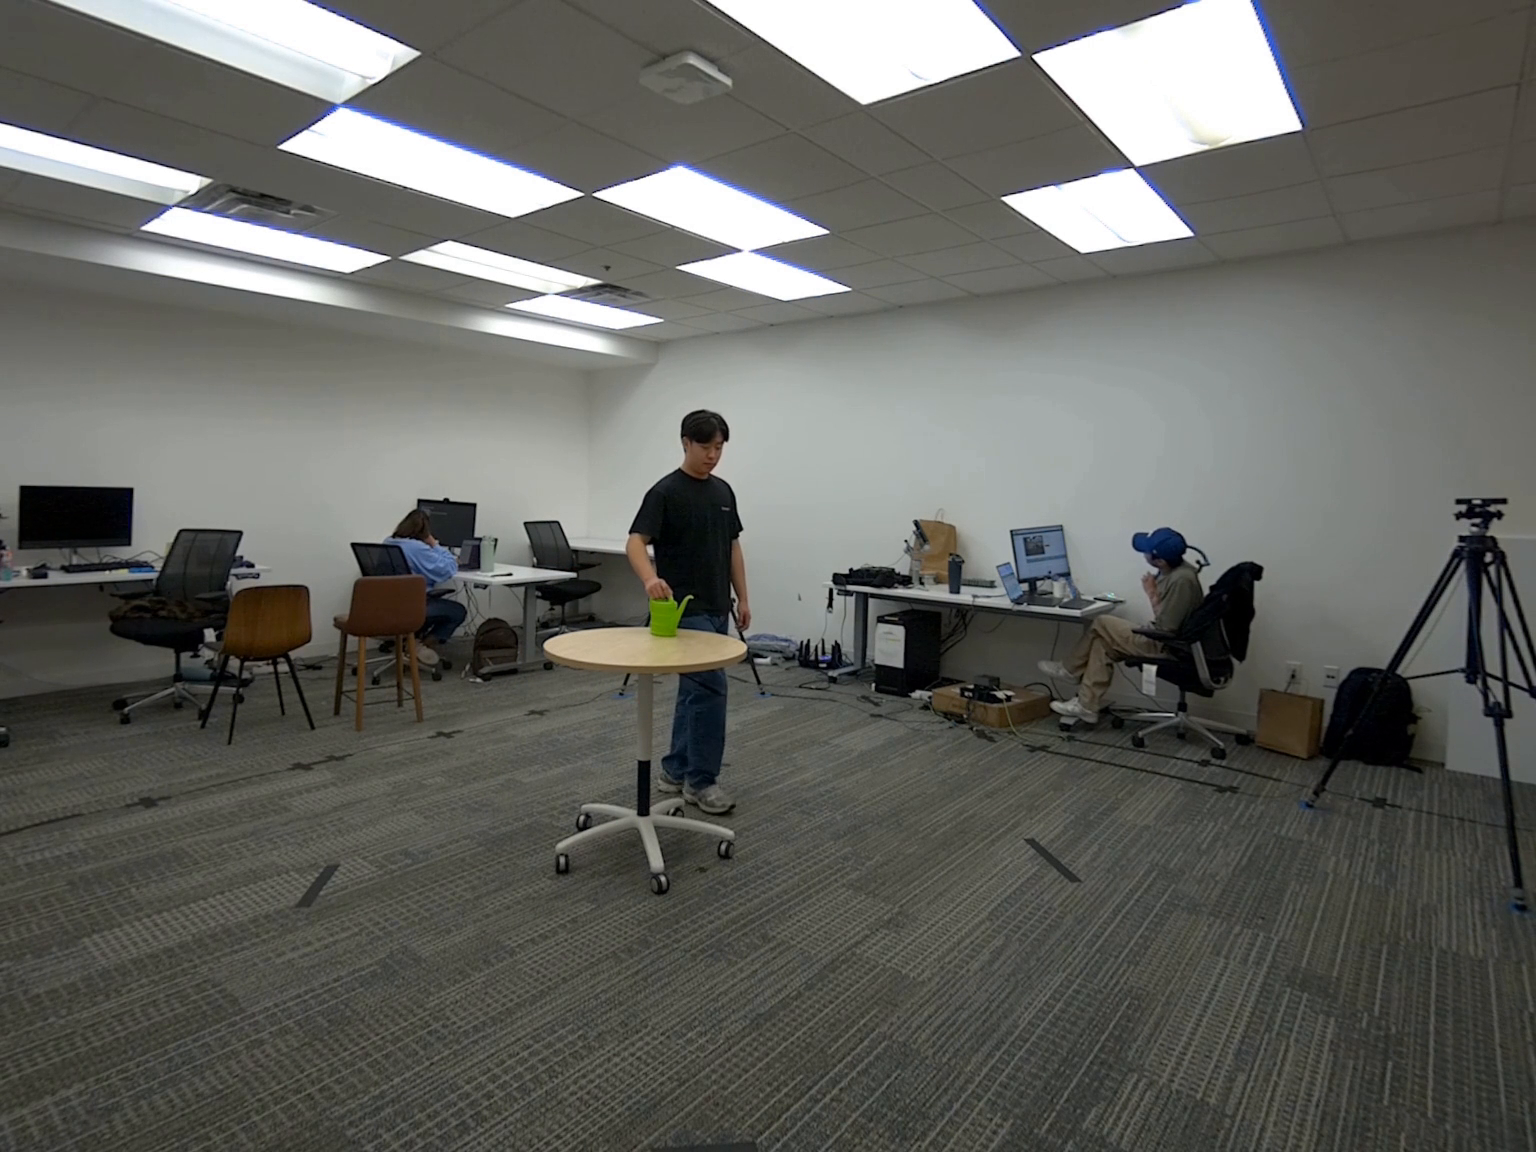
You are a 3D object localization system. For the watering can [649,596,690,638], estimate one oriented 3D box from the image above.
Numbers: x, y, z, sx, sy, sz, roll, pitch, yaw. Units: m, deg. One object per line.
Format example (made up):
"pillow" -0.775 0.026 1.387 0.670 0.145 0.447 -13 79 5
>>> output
"watering can" -0.419 0.153 3.413 0.095 0.176 0.286 -2 4 -27
